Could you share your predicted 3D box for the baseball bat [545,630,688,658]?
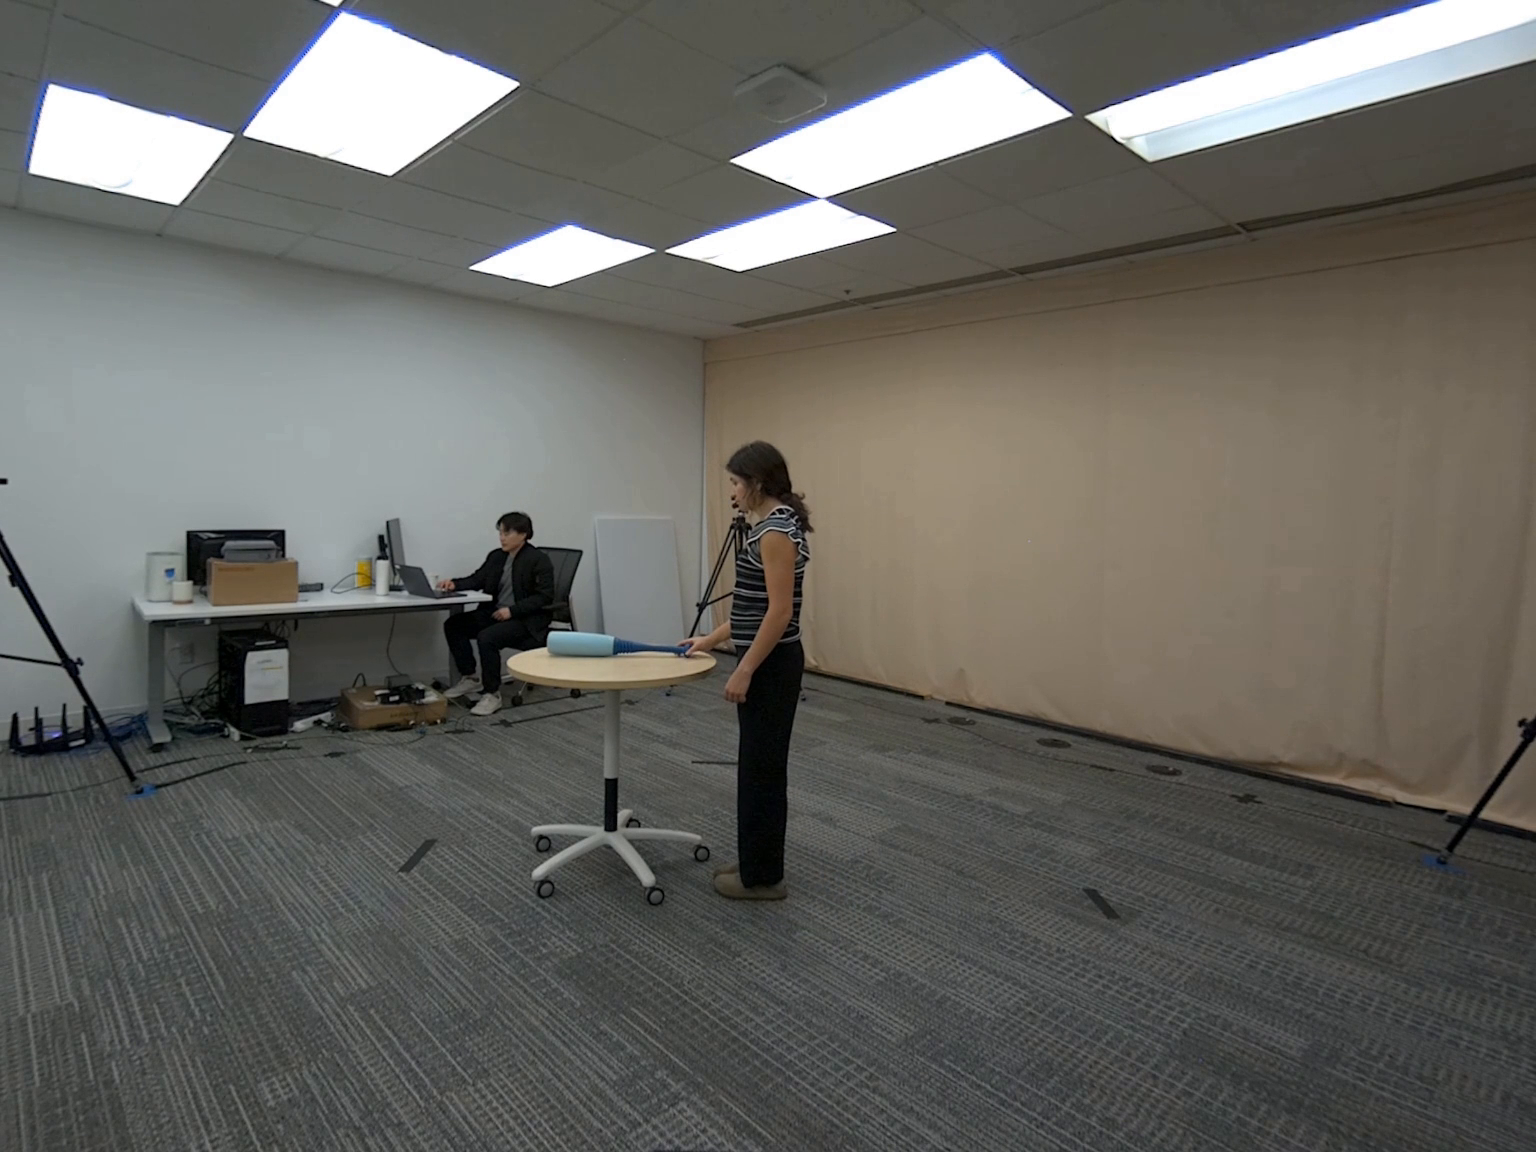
[{"bbox_3d":[-0.566,0.269,3.189,0.541,0.089,0.089,3,4,-3],"label":"baseball bat"}]
